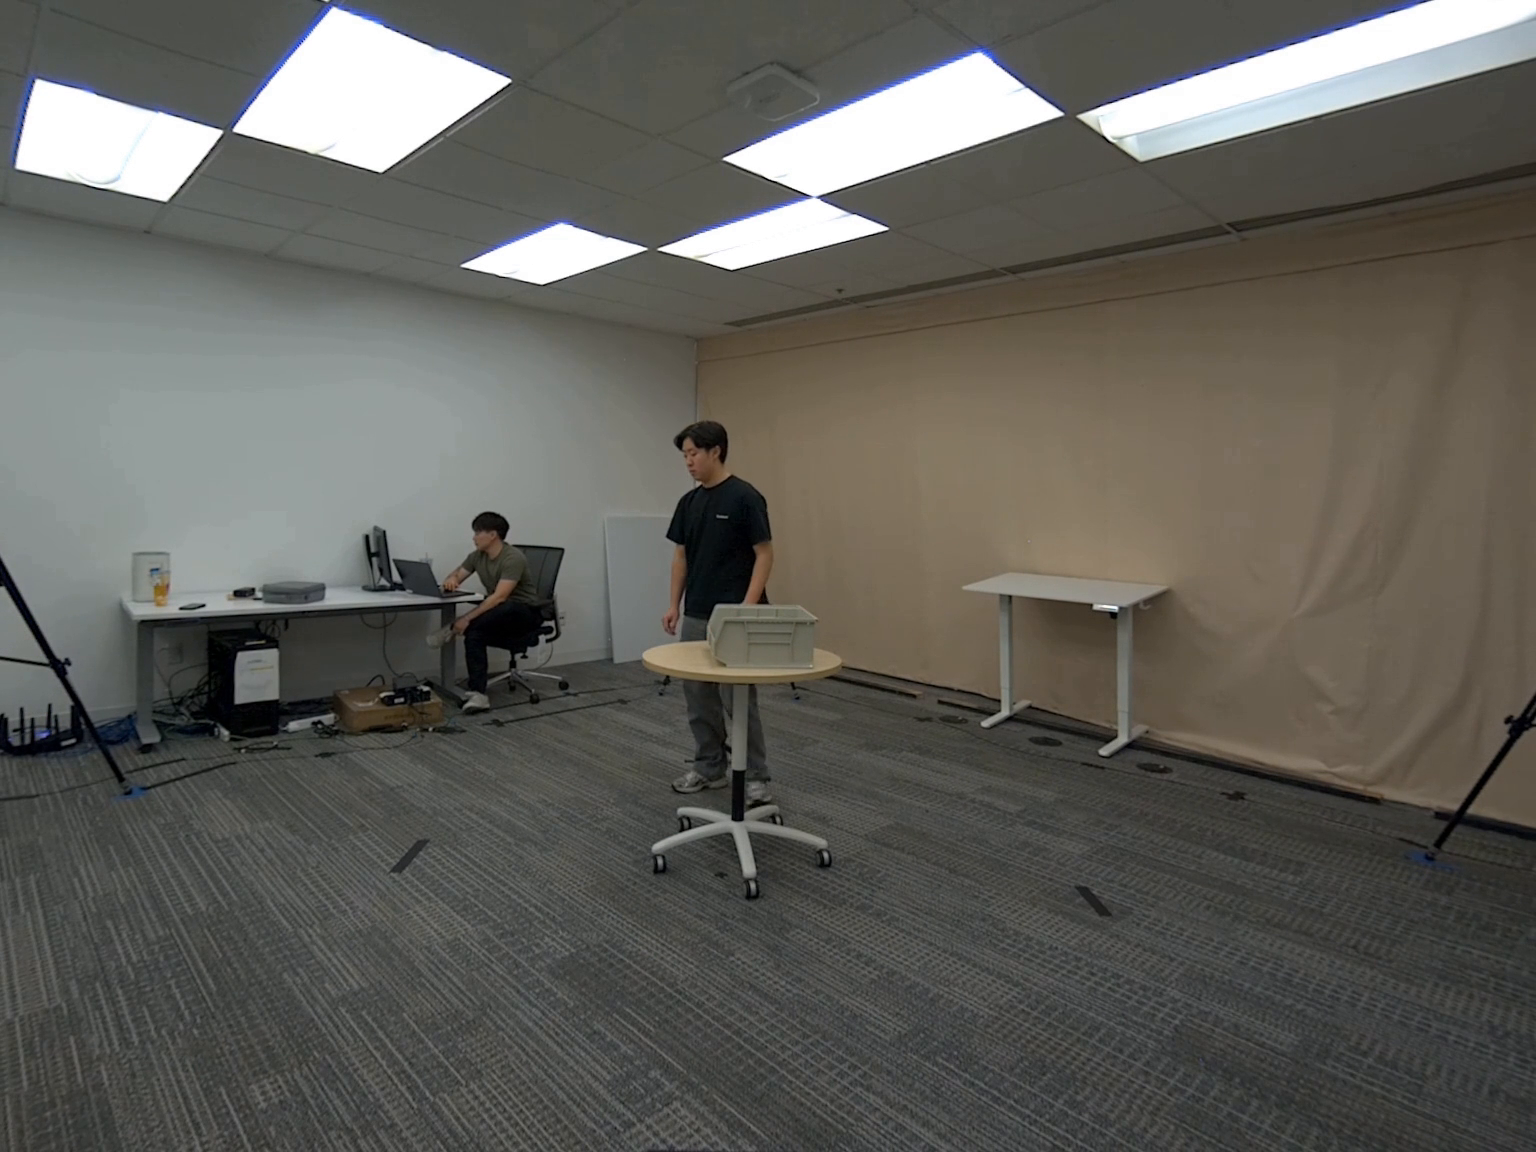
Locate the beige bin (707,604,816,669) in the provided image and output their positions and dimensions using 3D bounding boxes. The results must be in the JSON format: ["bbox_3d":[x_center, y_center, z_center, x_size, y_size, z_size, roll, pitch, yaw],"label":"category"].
[{"bbox_3d":[-0.044,0.223,3.208,0.376,0.188,0.425,2,4,-6],"label":"beige bin"}]
